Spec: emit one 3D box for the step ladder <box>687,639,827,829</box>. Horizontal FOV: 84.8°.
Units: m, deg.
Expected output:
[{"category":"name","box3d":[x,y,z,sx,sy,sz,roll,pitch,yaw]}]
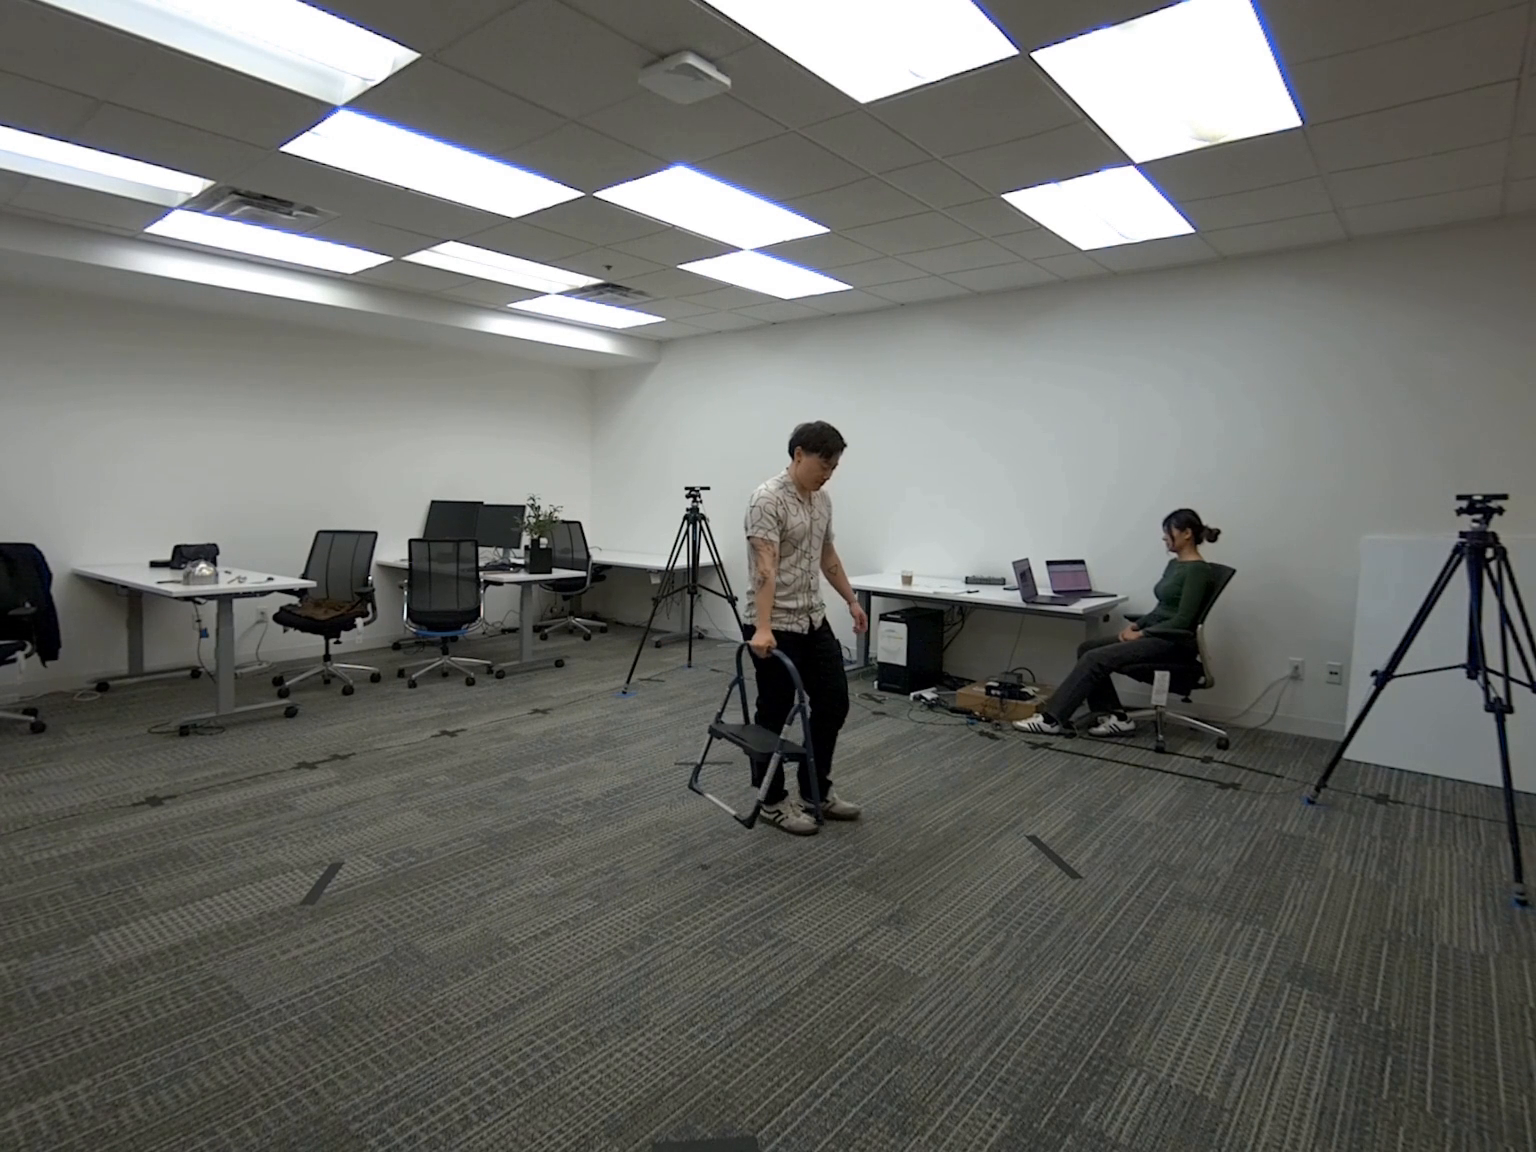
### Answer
[{"category":"step ladder","box3d":[-0.014,0.556,3.171,0.337,0.606,0.446,9,1,-37]}]
